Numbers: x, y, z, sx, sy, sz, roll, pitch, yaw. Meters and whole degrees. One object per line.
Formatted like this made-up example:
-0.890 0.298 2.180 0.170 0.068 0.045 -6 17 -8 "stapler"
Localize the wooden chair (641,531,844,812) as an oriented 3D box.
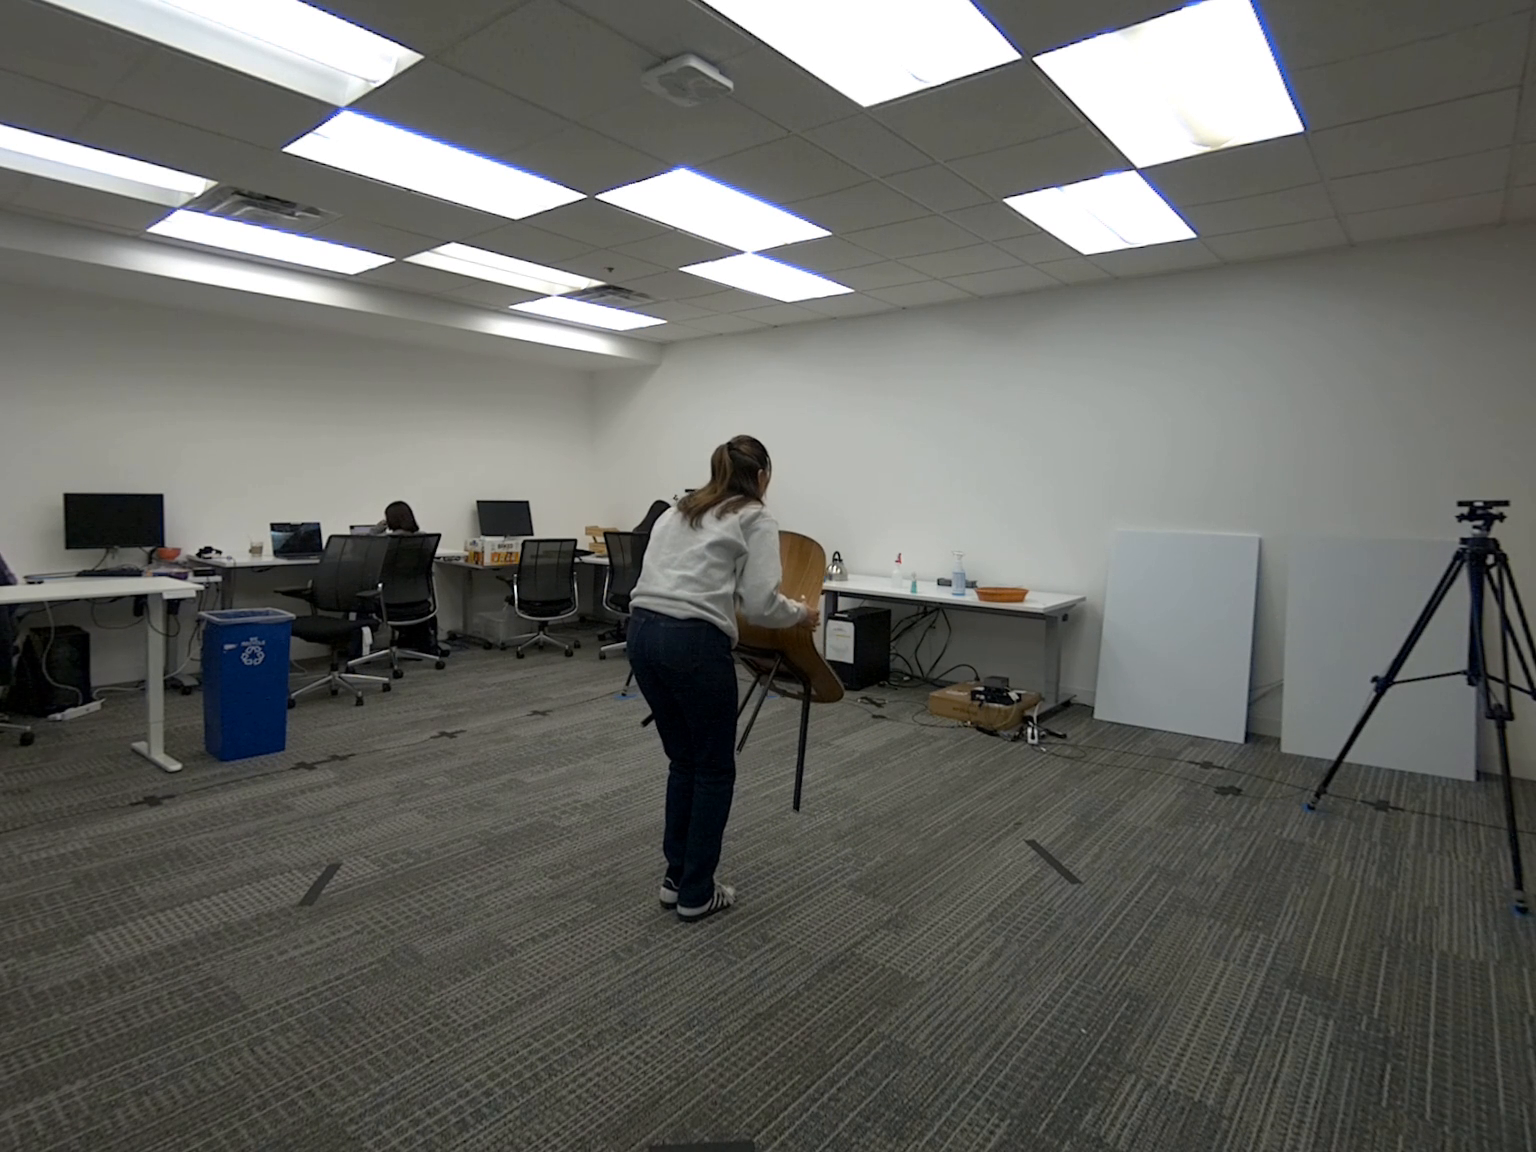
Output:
0.003 0.334 3.176 0.494 0.886 0.501 4 -30 38 "wooden chair"
